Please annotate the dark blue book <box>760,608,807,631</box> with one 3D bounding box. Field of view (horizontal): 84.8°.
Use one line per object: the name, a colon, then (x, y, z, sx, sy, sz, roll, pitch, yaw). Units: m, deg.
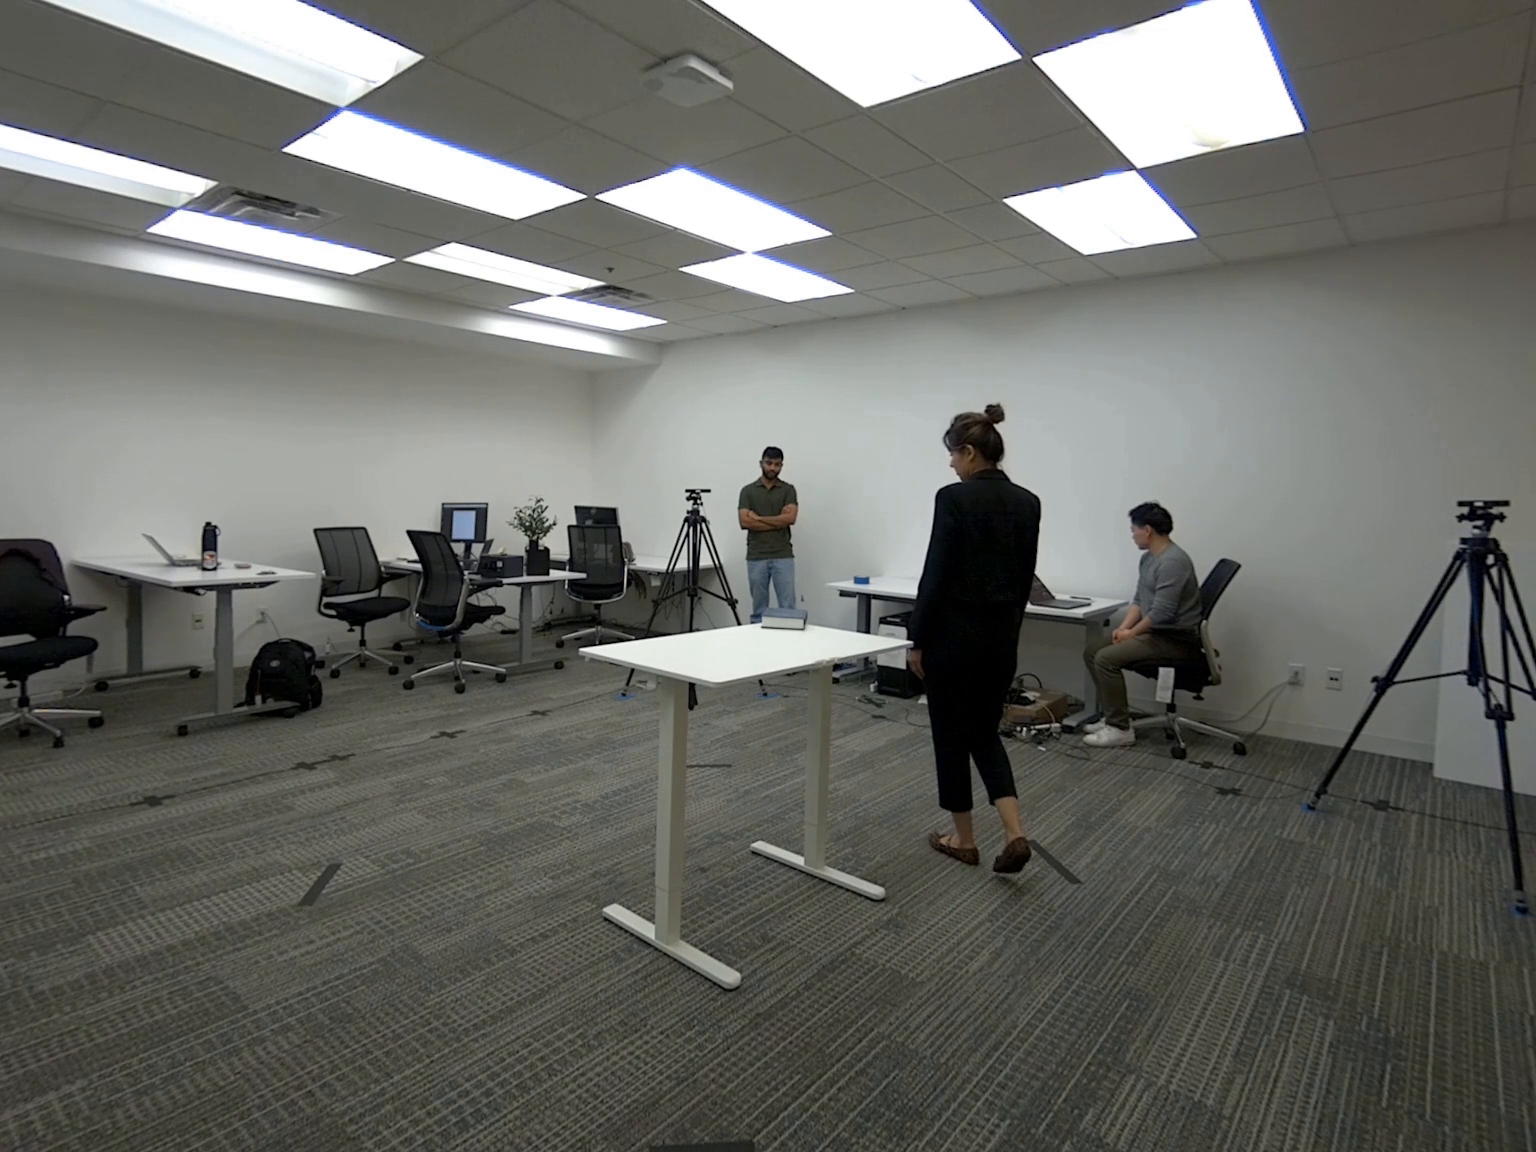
dark blue book: (0.055, 0.158, 3.266, 0.165, 0.045, 0.244, 3, 5, 6)
